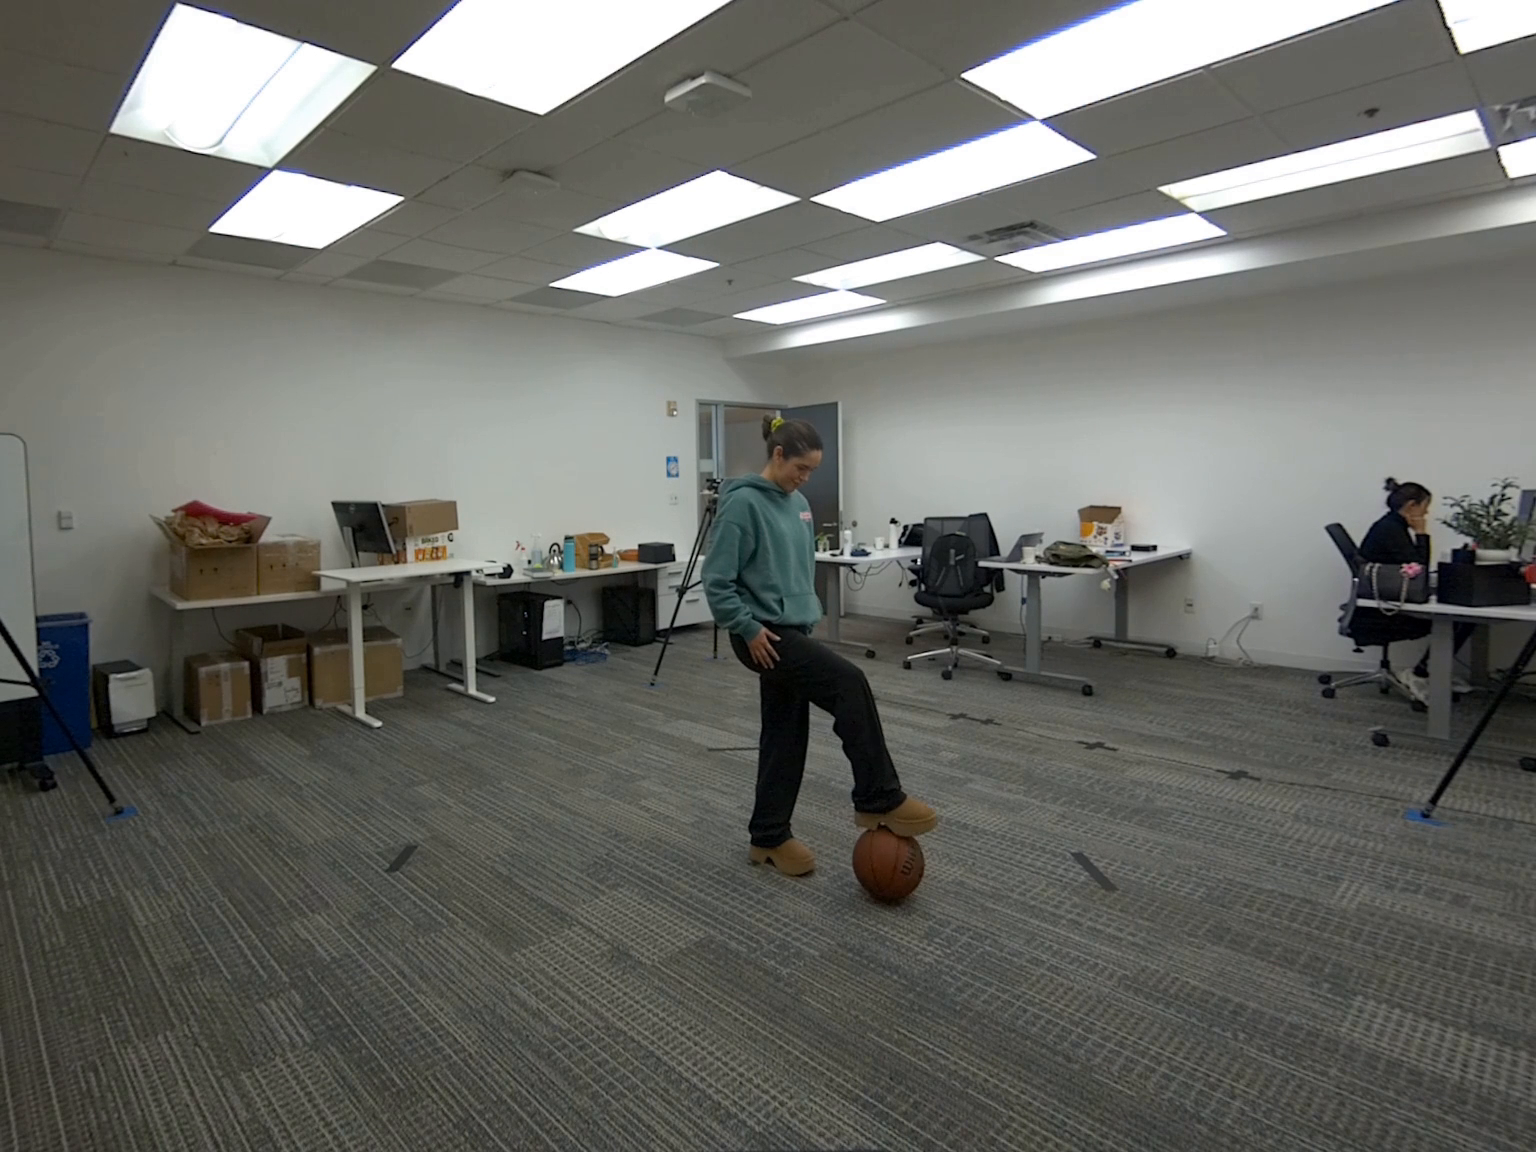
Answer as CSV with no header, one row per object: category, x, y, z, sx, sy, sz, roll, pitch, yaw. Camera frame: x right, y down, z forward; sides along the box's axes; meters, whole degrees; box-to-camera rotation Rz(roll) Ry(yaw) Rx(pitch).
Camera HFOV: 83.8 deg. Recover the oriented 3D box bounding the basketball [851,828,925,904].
basketball,0.396,0.949,2.837,0.236,0.235,0.237,-1,5,-2
